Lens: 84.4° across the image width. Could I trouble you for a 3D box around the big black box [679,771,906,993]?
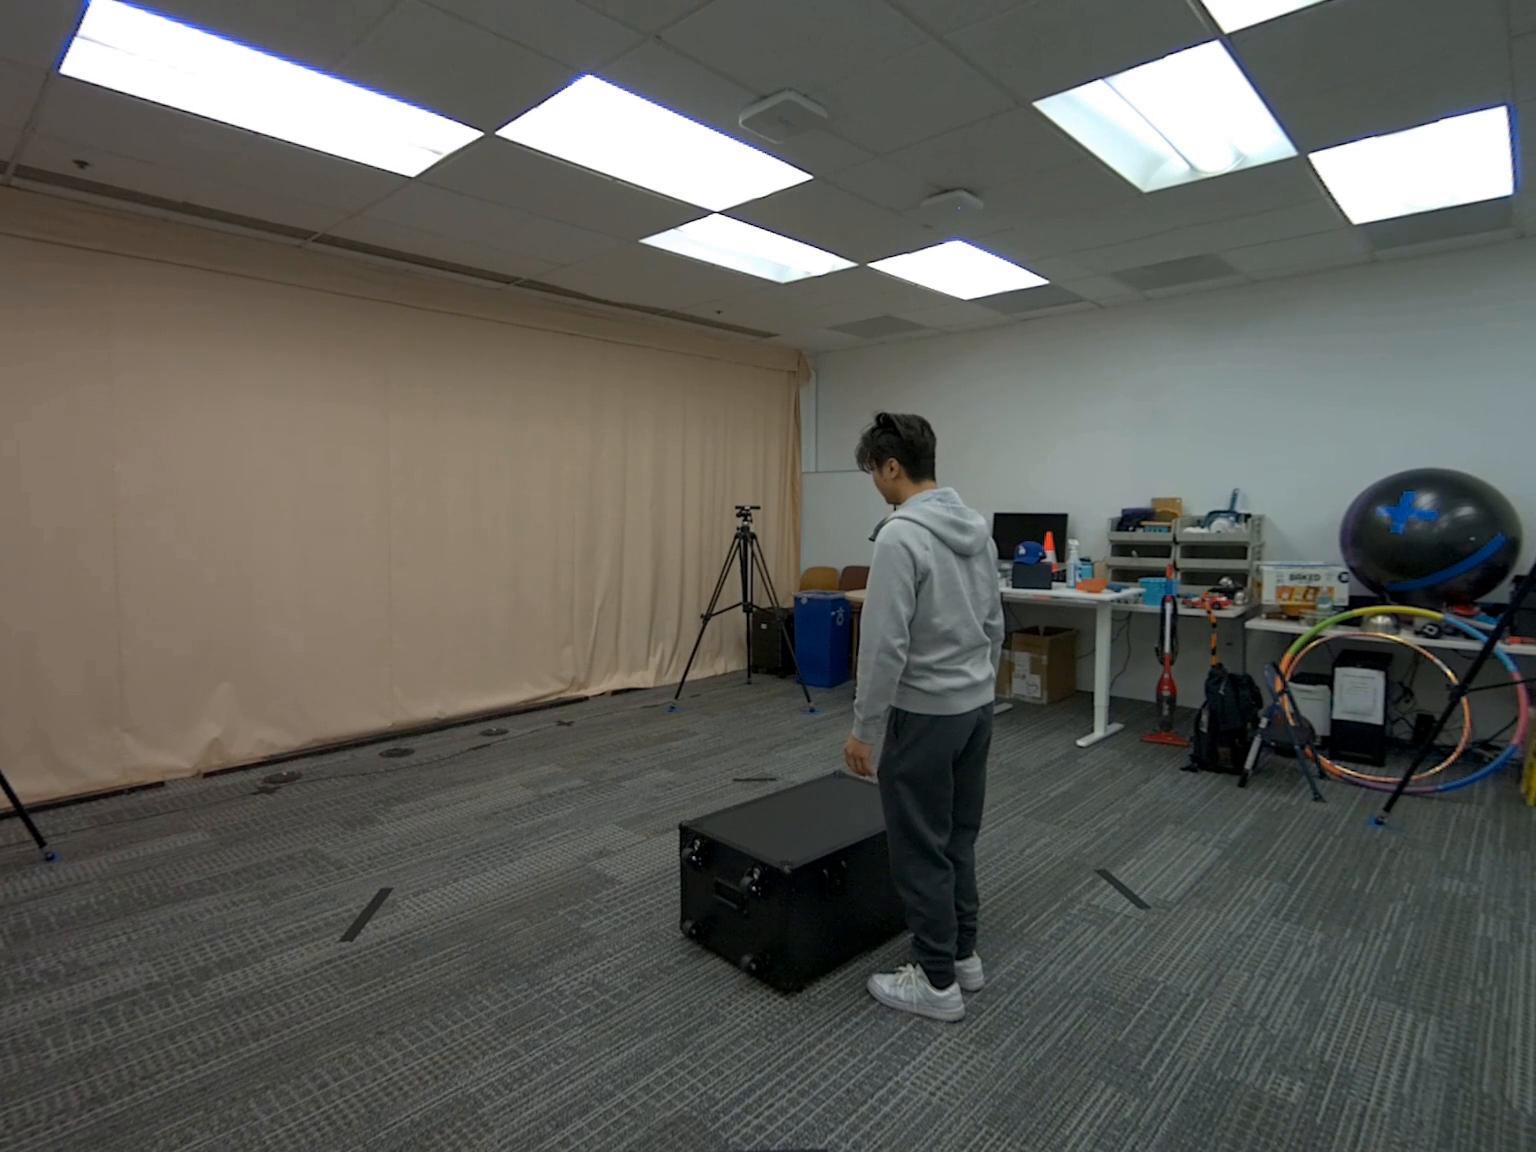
[{"bbox_3d":[0.139,0.973,2.769,0.835,0.395,0.539,-4,6,-44],"label":"big black box"}]
